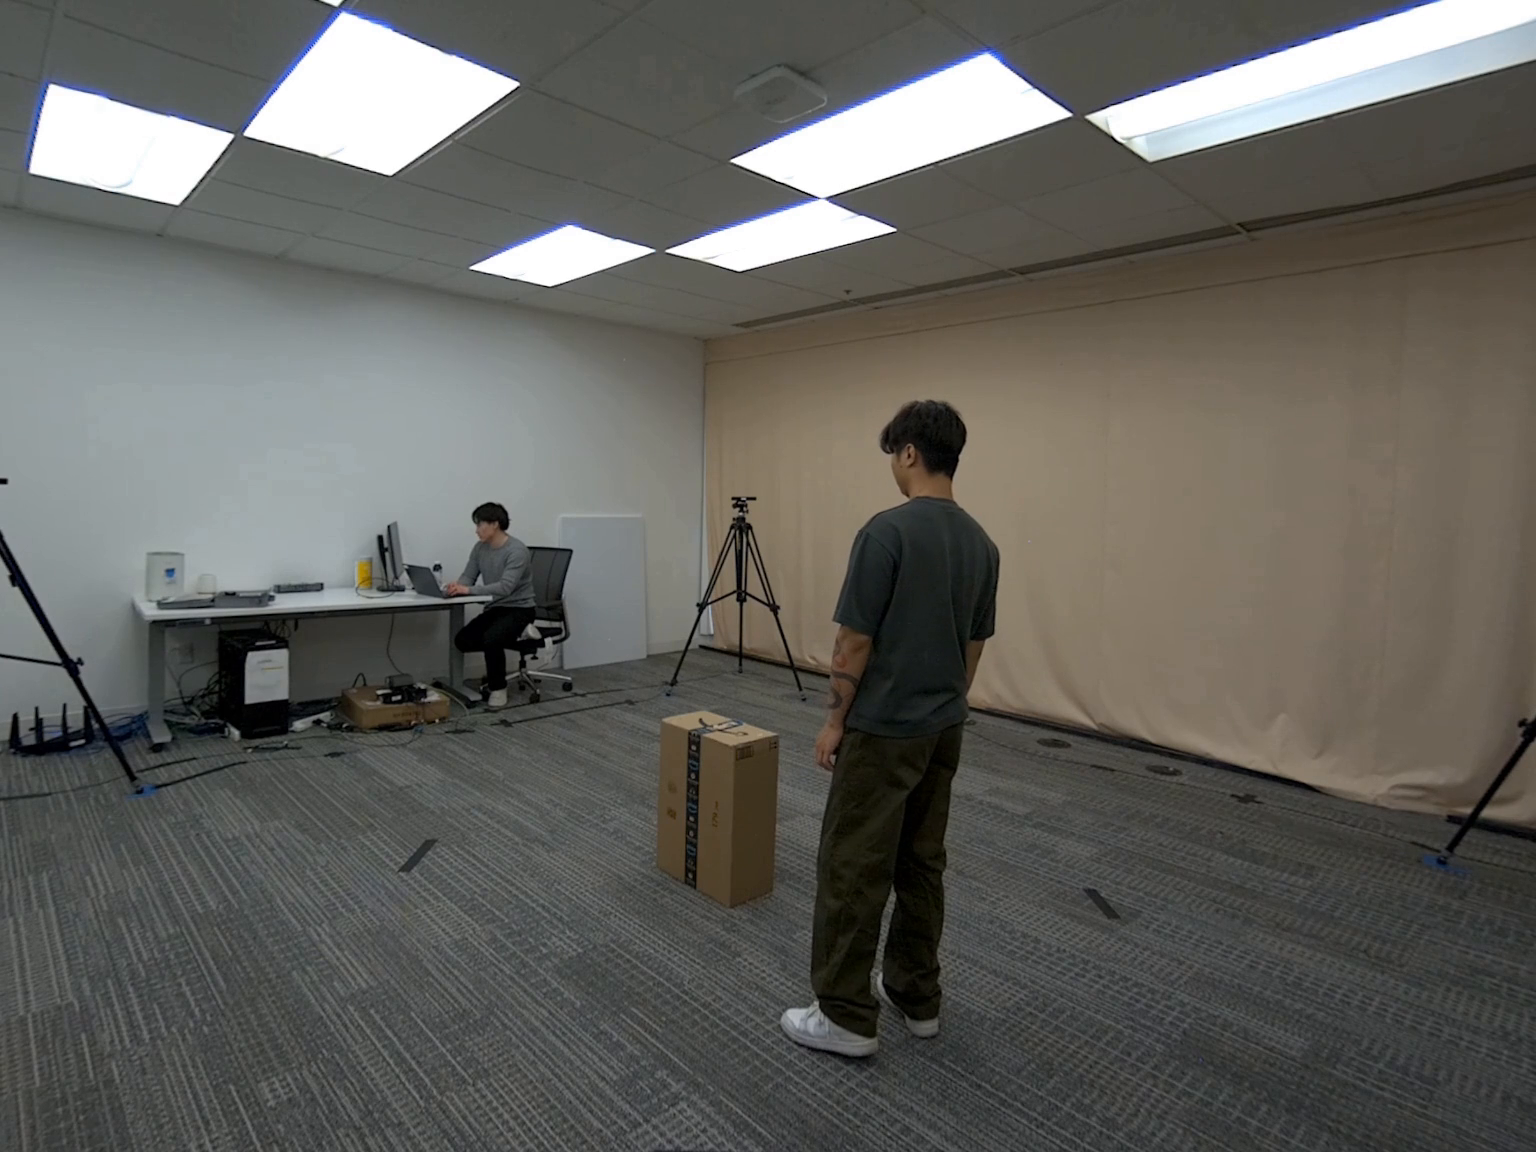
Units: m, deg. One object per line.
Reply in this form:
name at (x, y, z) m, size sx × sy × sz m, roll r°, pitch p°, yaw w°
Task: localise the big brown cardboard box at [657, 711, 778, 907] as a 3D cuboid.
big brown cardboard box at (-0.194, 0.823, 3.060) m, size 0.228 × 0.587 × 0.428 m, roll -1°, pitch 5°, yaw -43°
